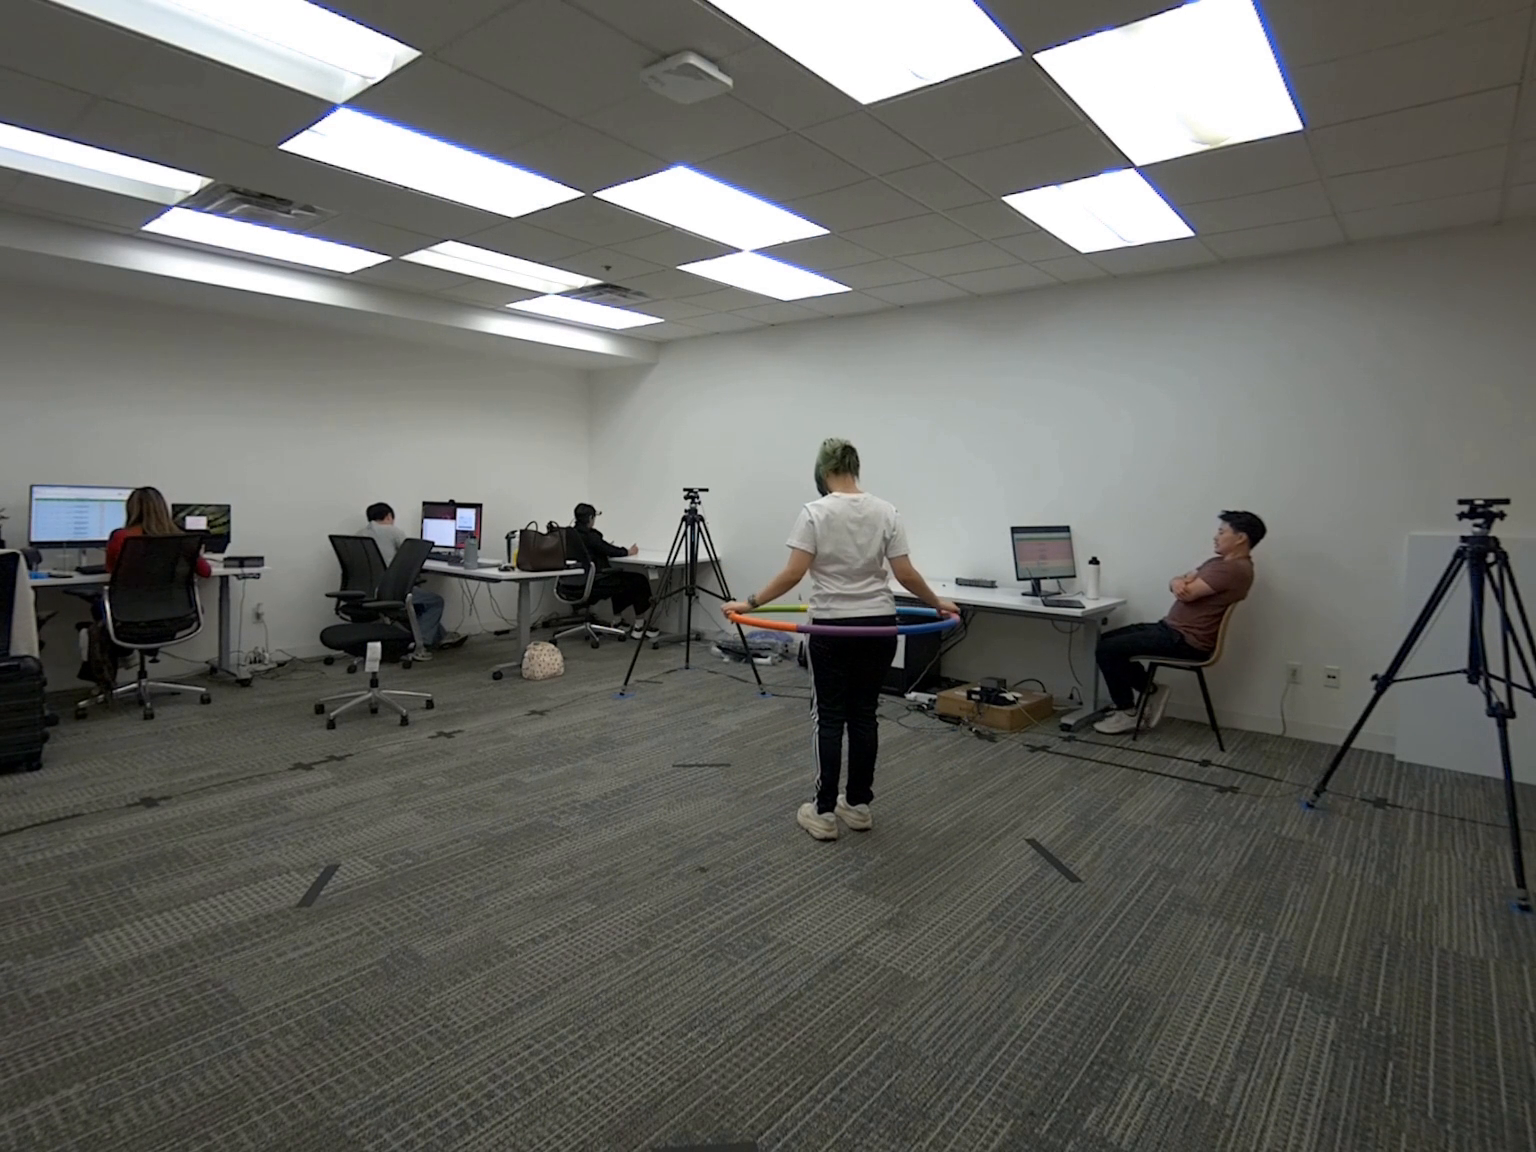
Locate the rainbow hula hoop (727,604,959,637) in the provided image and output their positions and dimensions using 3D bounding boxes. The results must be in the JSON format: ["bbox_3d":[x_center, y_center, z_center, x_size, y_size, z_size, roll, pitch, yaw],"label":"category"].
[{"bbox_3d":[0.298,0.161,3.620,0.985,0.051,0.988,0,3,-2],"label":"rainbow hula hoop"}]
